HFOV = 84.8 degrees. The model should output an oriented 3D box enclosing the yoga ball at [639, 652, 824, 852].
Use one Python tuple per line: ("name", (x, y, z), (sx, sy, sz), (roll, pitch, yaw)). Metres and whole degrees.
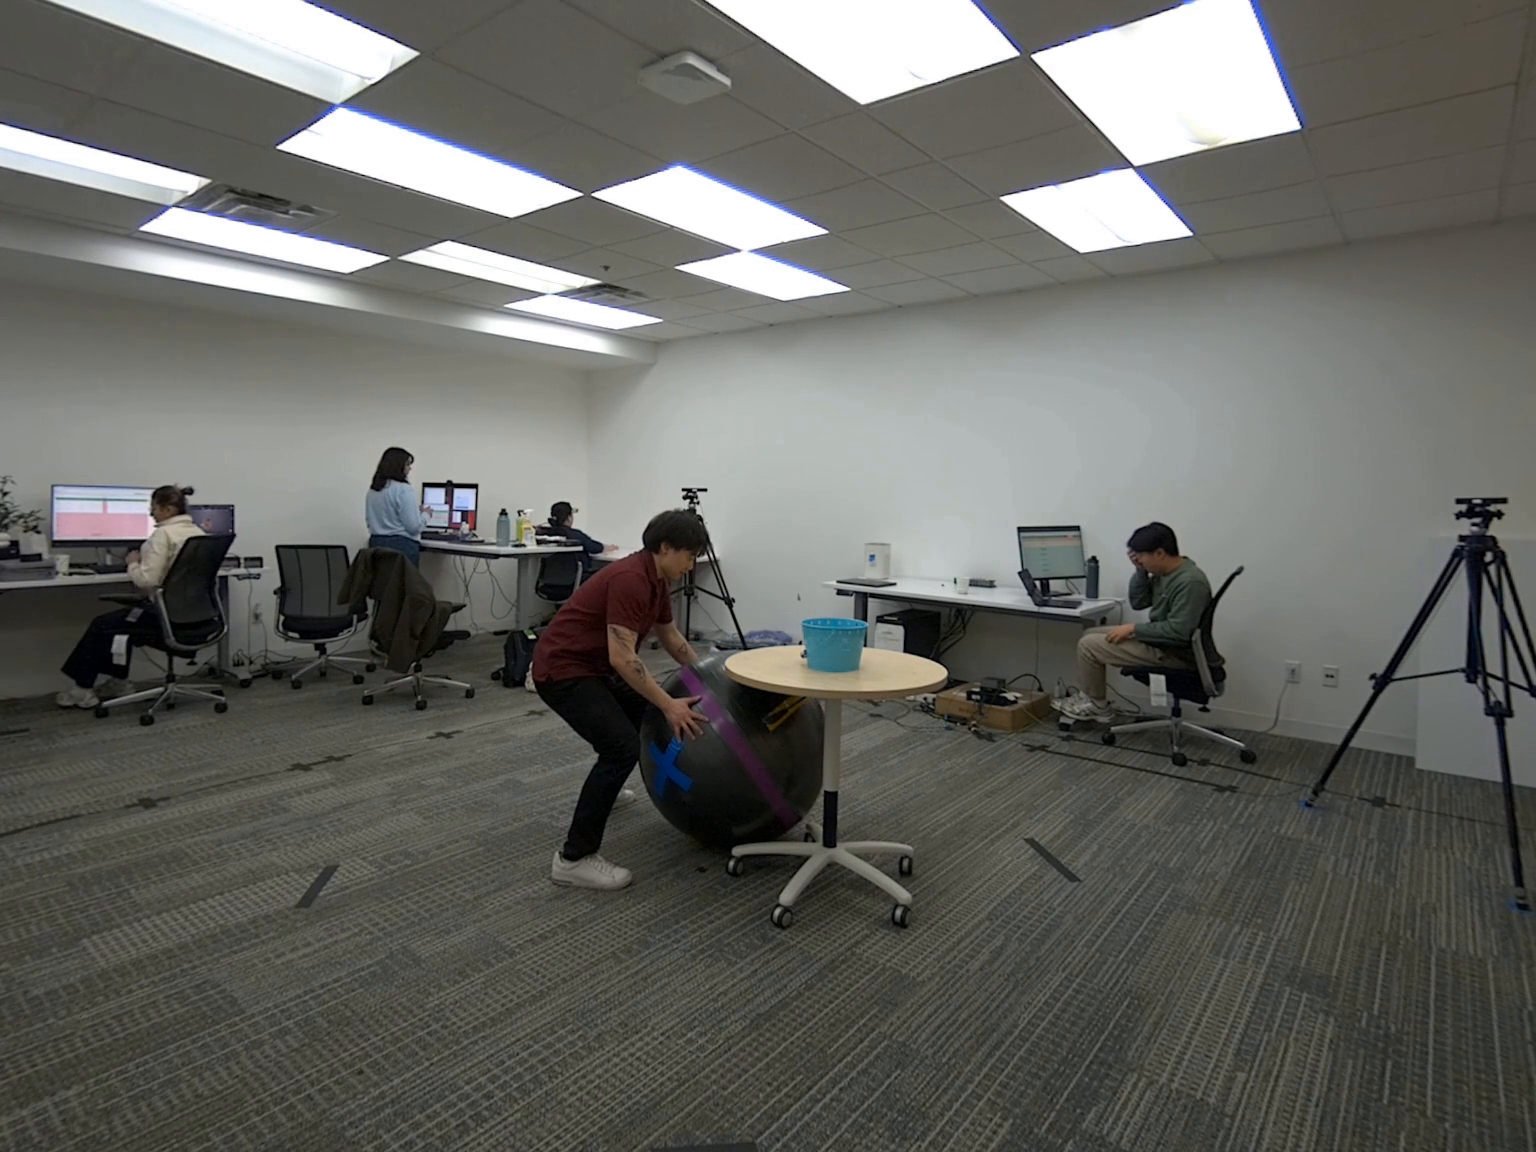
("yoga ball", (-0.151, 0.685, 3.378), (0.757, 0.756, 0.761), (1, 4, -2))
